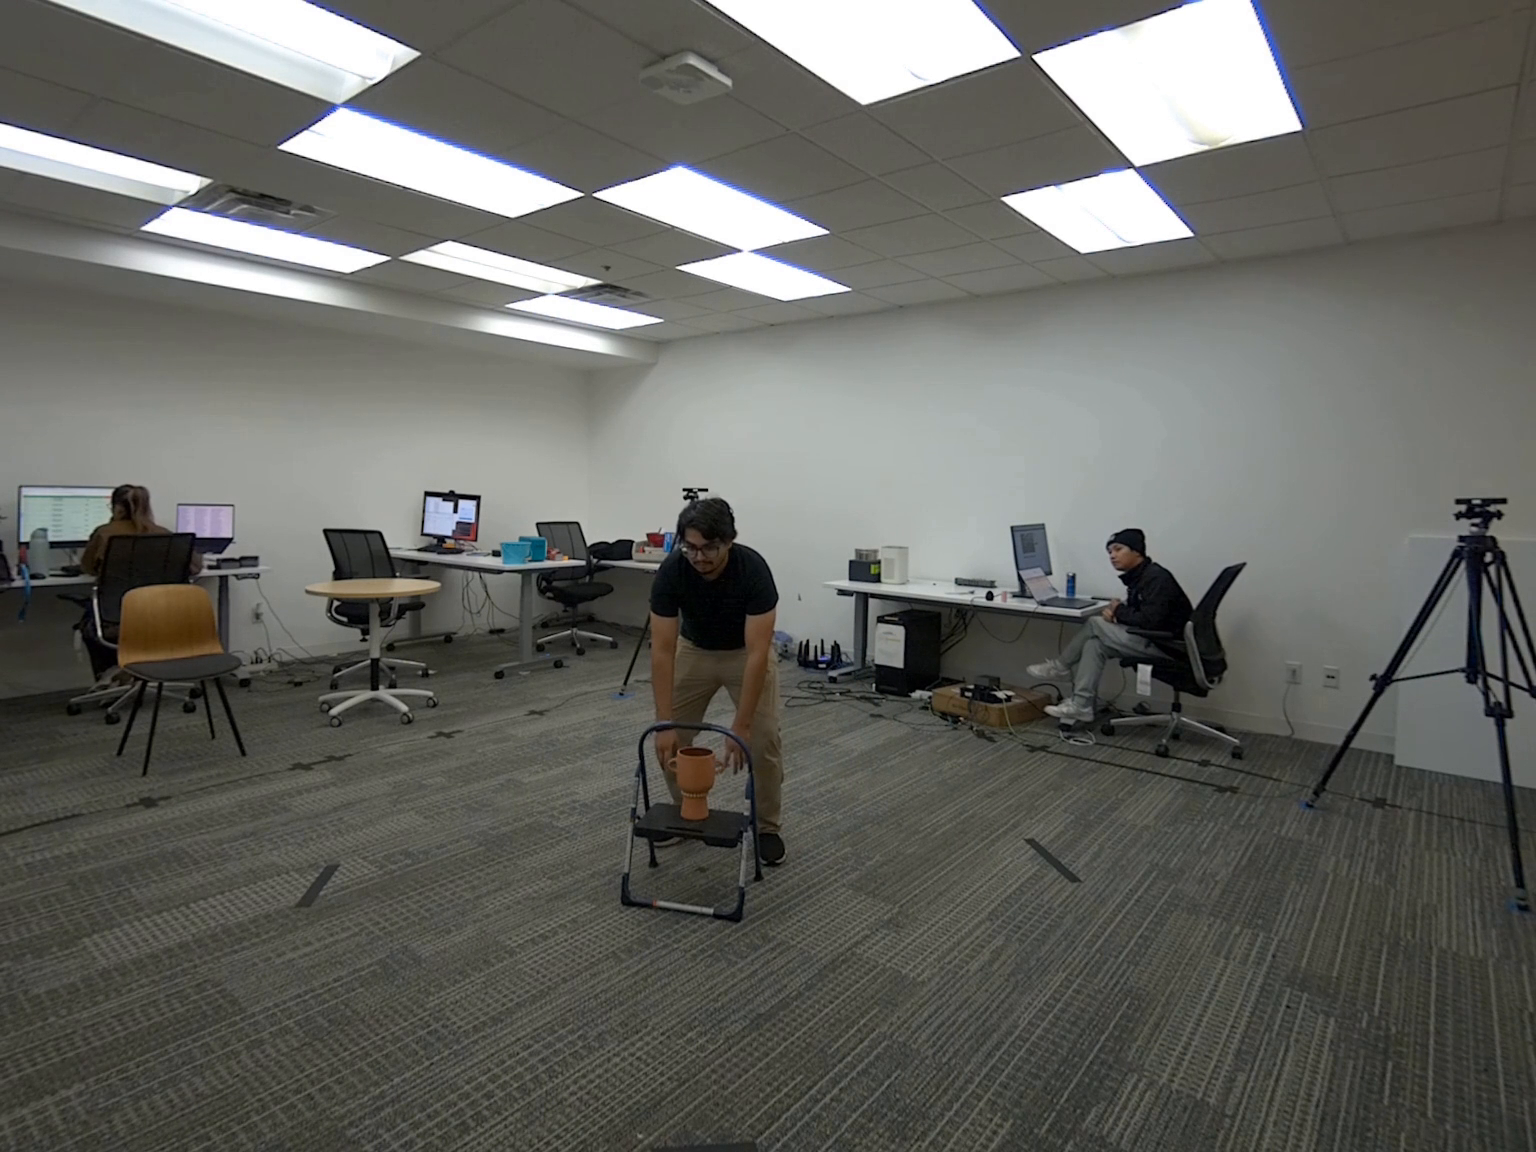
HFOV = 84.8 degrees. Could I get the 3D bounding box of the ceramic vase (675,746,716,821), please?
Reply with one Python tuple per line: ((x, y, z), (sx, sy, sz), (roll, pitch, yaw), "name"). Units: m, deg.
((-0.251, 0.712, 2.939), (0.164, 0.219, 0.130), (4, 2, 38), "ceramic vase")
